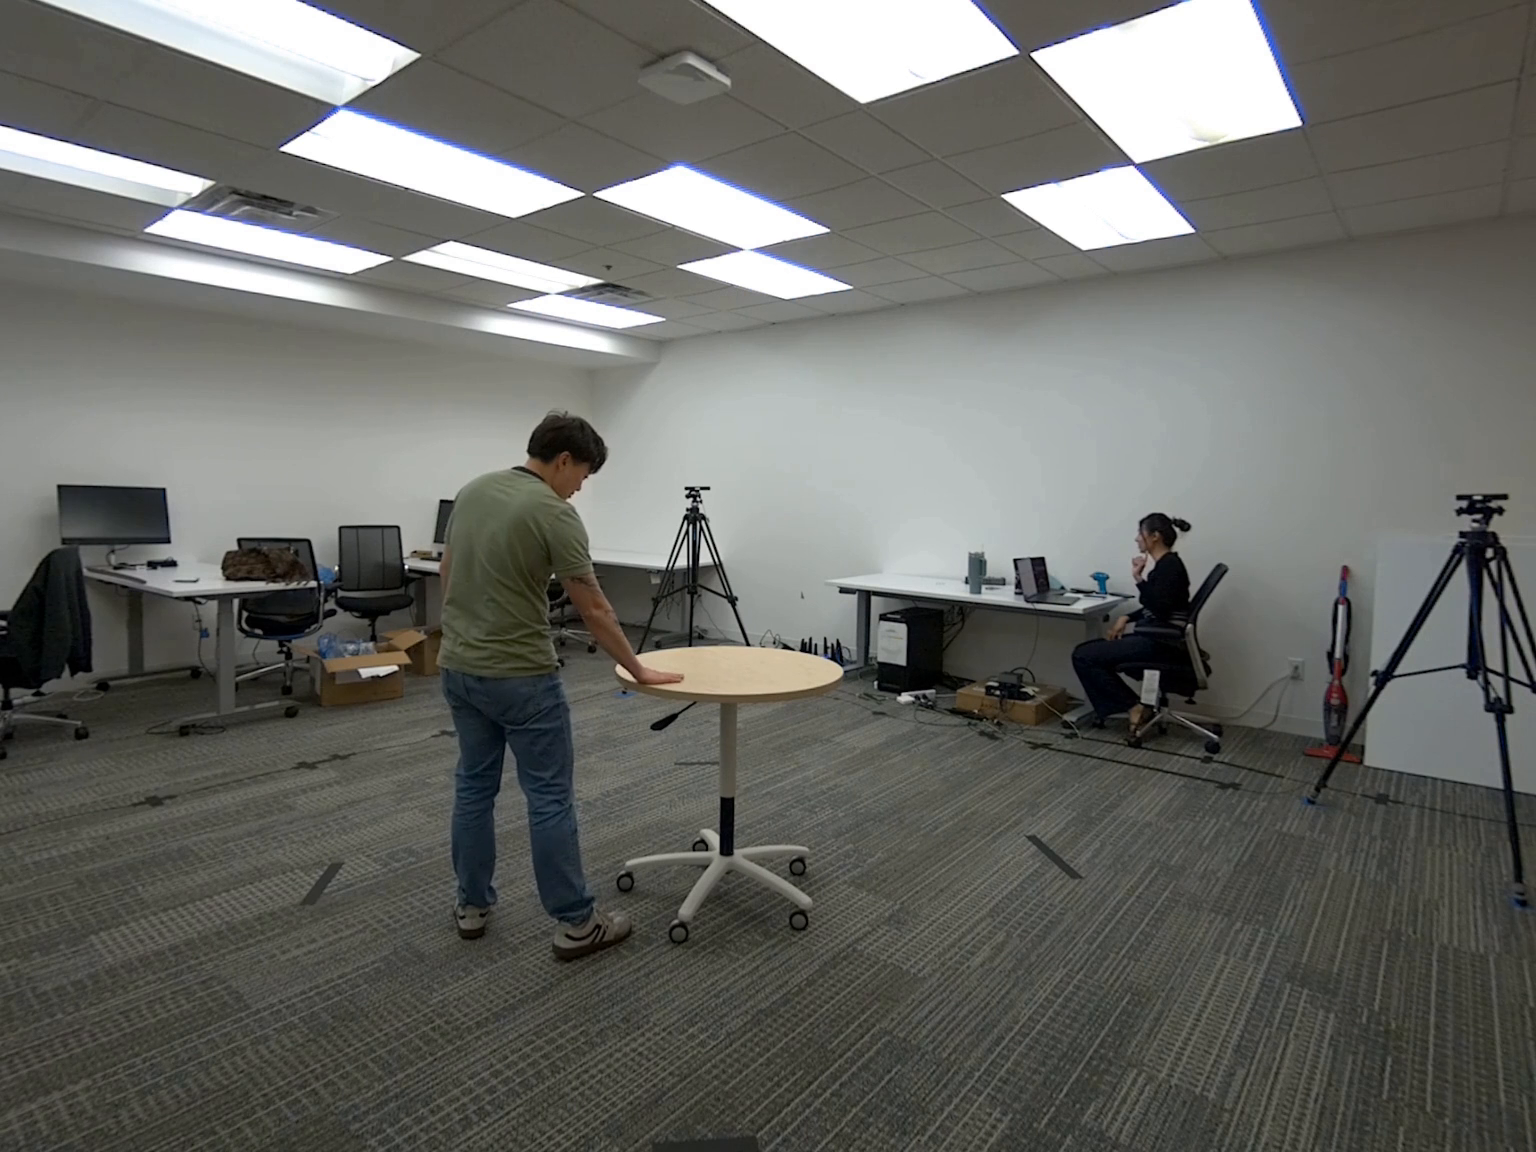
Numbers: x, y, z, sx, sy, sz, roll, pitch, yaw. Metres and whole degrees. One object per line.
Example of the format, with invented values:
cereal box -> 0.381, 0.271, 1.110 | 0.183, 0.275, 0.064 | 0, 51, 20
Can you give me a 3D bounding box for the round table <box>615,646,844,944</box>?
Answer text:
round table -> -0.145, 0.699, 2.894 | 0.763, 0.791, 0.768 | 1, 4, -2
